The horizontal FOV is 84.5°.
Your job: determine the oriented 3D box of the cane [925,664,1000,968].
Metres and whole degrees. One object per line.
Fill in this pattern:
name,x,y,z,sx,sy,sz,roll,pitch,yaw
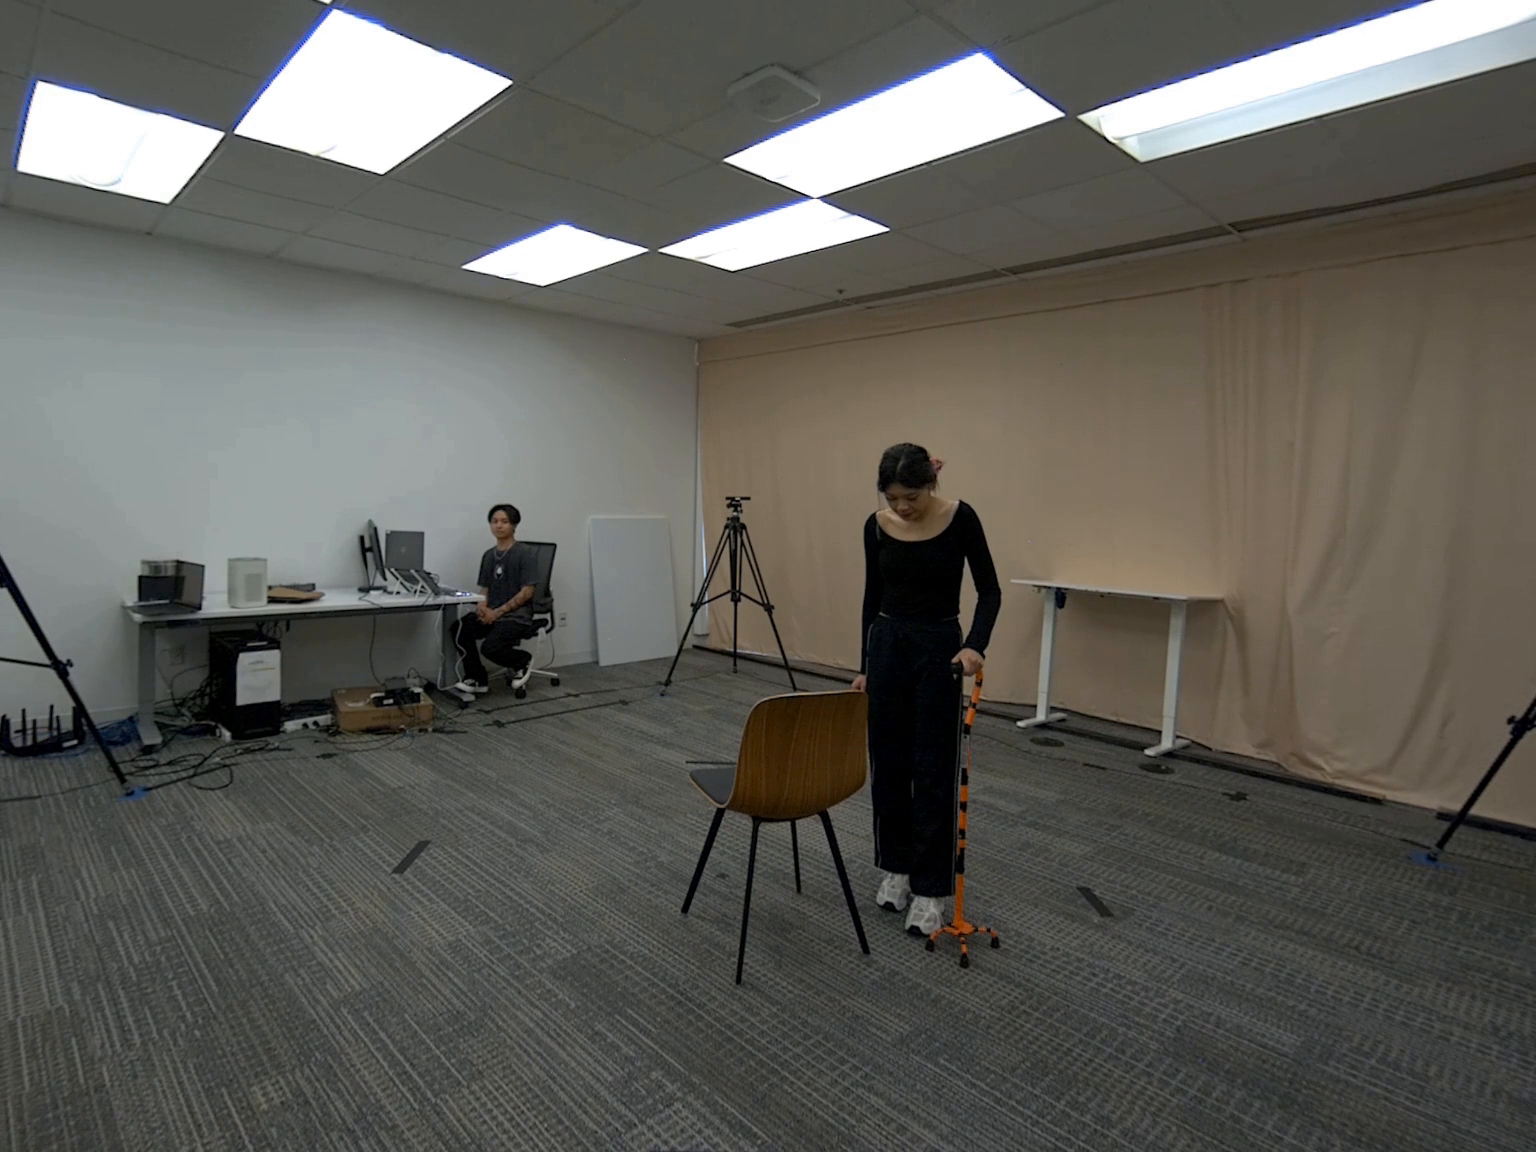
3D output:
cane,0.593,0.706,2.614,0.202,0.905,0.155,-1,4,-31
